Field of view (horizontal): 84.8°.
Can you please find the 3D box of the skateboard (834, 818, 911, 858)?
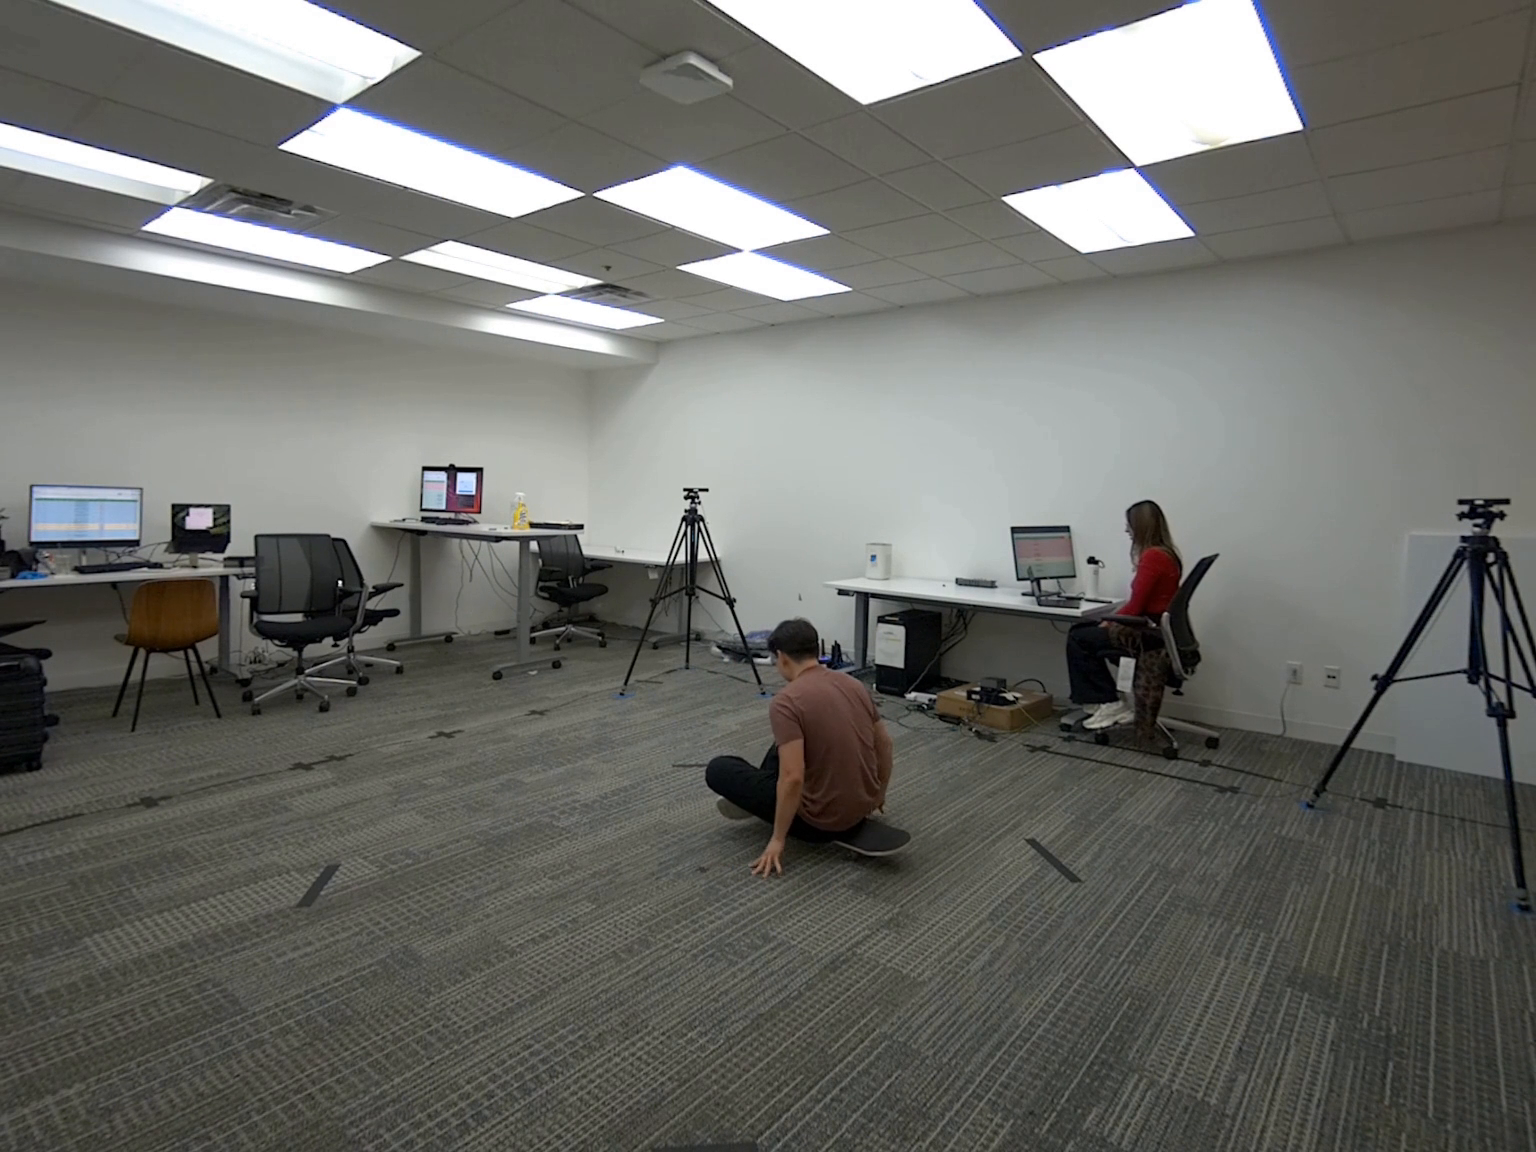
[{"bbox_3d":[0.232,0.997,3.424,0.189,0.108,0.814,-20,20,-39],"label":"skateboard"}]
